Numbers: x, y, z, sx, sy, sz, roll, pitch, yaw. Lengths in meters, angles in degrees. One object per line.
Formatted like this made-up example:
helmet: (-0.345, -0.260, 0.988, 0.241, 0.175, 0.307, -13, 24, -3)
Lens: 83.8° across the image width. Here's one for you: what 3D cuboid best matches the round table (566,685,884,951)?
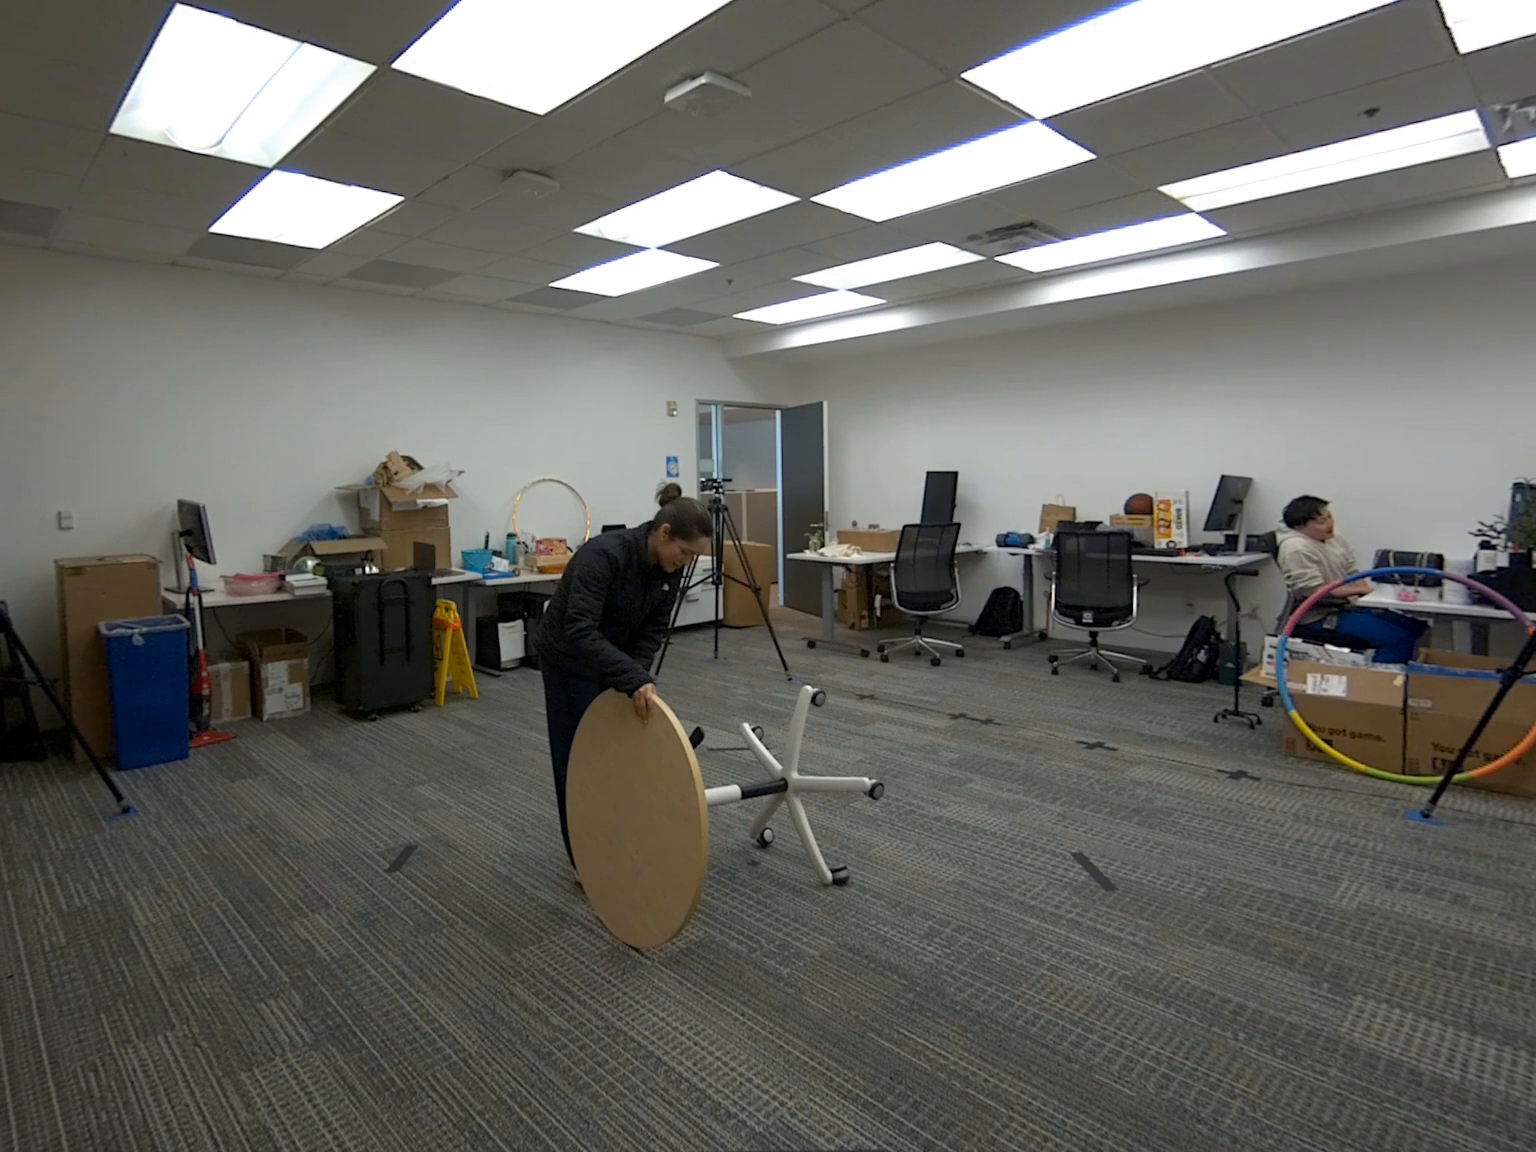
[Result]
round table: (-0.141, 0.729, 2.883, 0.763, 0.785, 0.809, 3, 1, -42)
